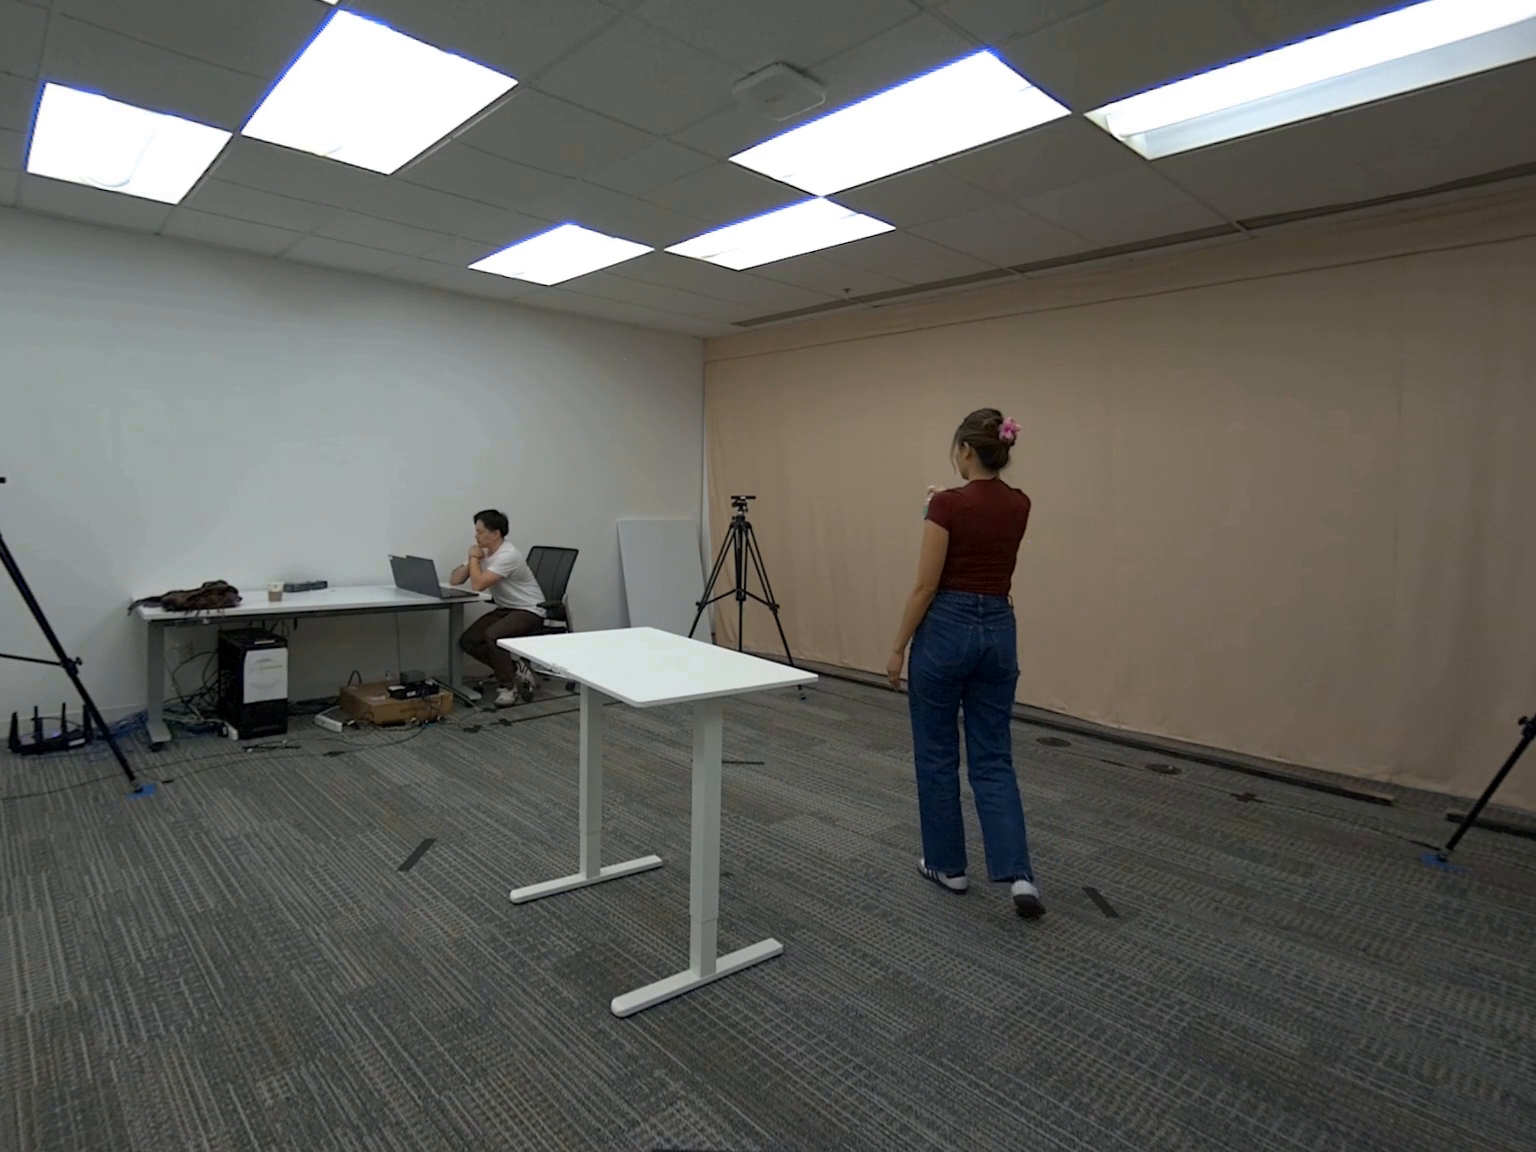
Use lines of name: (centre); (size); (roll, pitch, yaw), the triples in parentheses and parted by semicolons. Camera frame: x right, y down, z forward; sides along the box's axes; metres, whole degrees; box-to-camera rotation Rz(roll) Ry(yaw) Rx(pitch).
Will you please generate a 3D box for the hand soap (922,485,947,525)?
hand soap: (0.716, -0.306, 3.651); (0.083, 0.167, 0.044); (-3, 8, -23)
